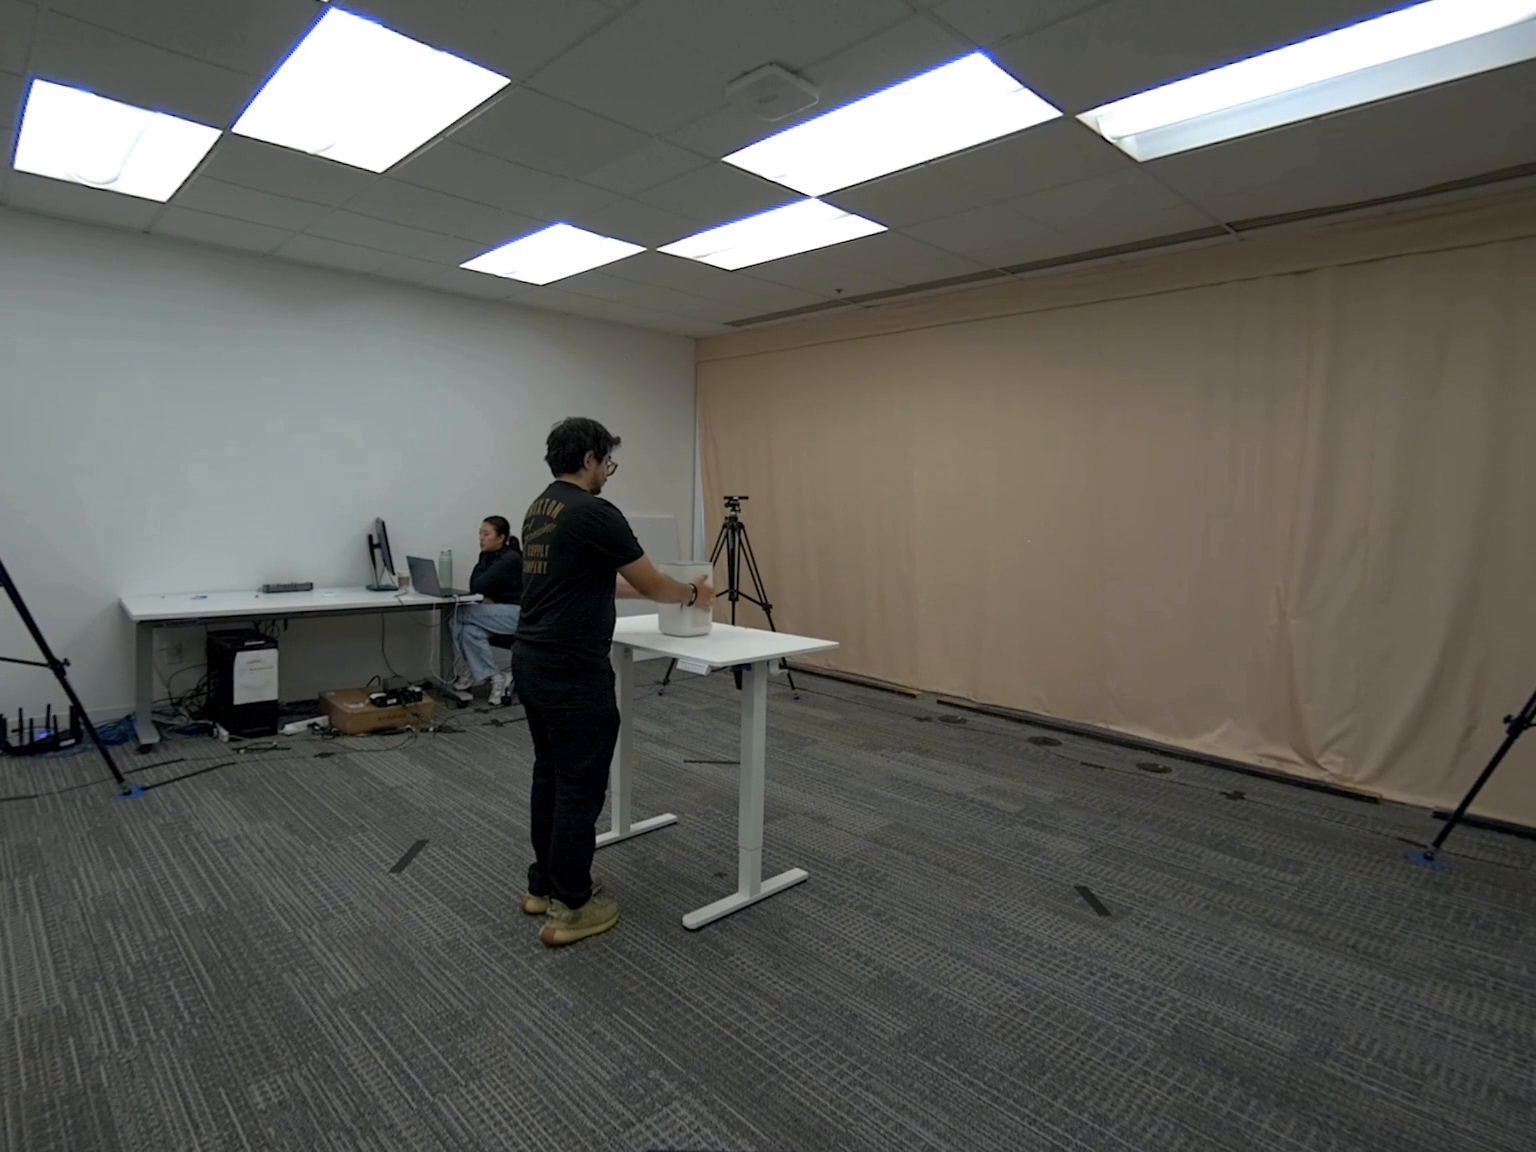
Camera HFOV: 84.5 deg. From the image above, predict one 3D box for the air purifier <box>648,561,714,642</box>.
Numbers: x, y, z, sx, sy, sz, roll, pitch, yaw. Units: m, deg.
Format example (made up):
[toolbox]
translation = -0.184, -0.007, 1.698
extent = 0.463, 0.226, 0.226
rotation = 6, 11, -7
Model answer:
[air purifier]
translation = -0.322, 0.086, 3.109
extent = 0.168, 0.265, 0.175
rotation = -3, 5, -45
